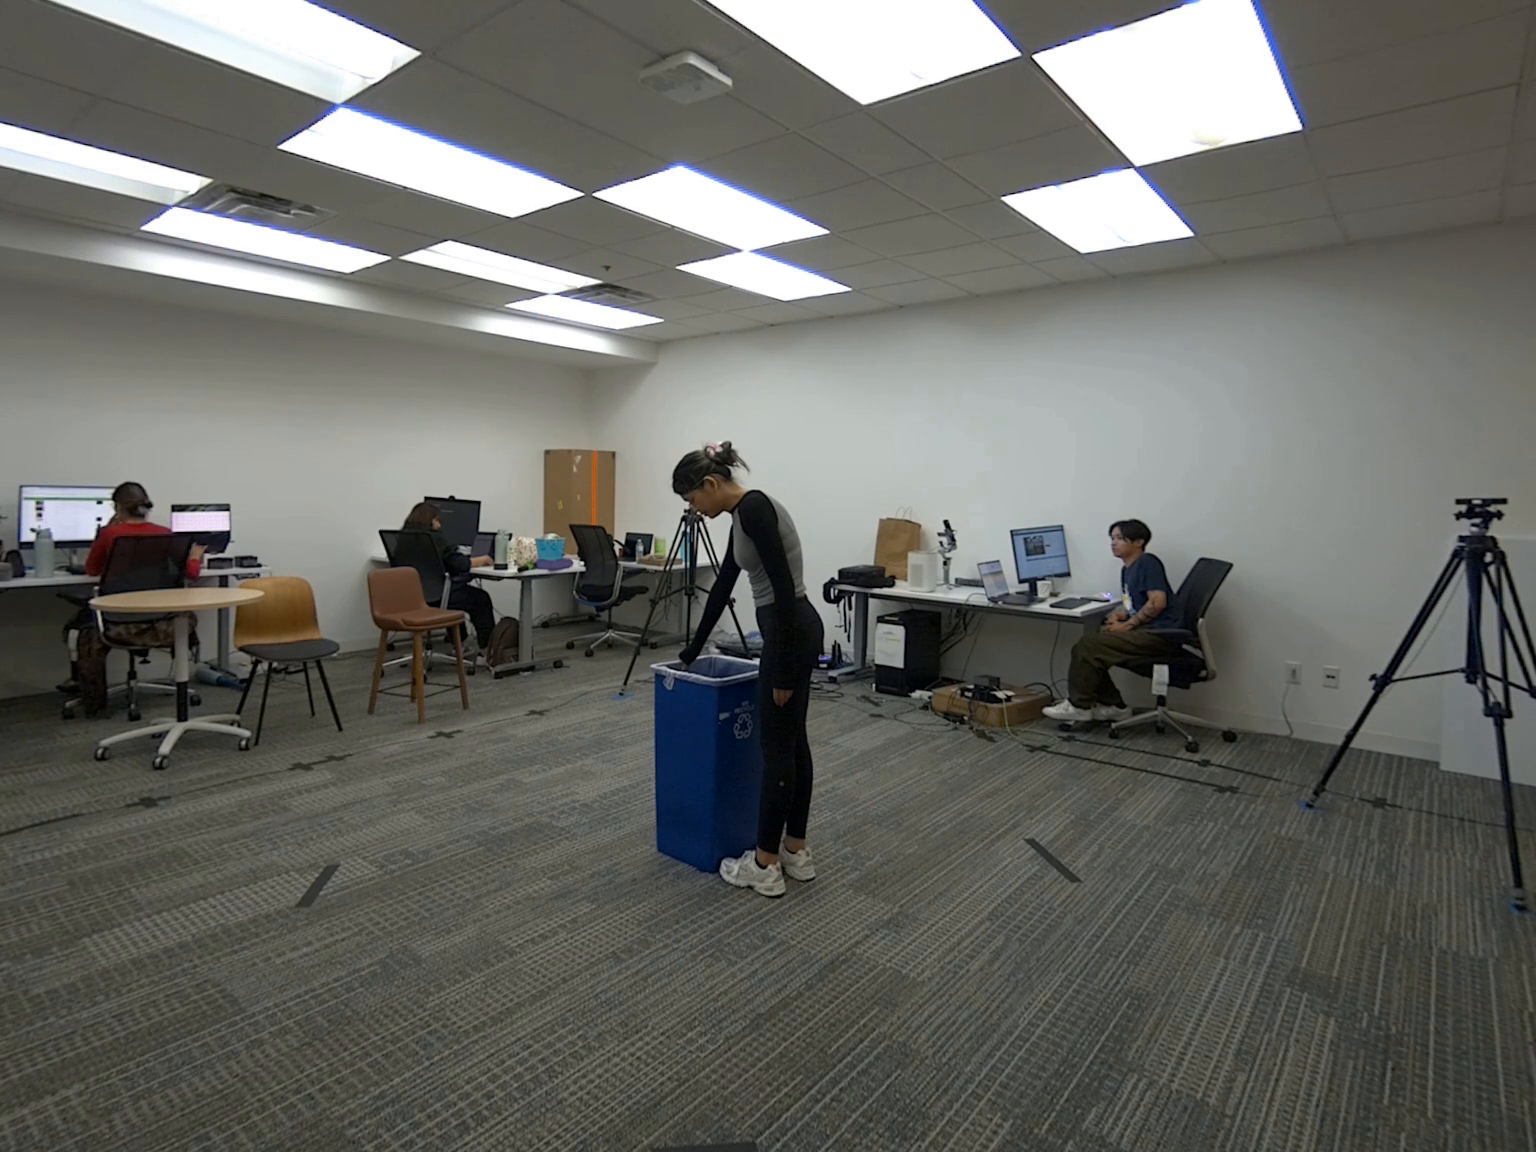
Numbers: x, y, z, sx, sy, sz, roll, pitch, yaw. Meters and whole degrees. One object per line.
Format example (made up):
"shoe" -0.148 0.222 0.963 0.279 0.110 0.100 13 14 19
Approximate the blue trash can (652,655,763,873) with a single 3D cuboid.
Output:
"blue trash can" -0.223 0.697 3.269 0.391 0.711 0.363 4 4 40
